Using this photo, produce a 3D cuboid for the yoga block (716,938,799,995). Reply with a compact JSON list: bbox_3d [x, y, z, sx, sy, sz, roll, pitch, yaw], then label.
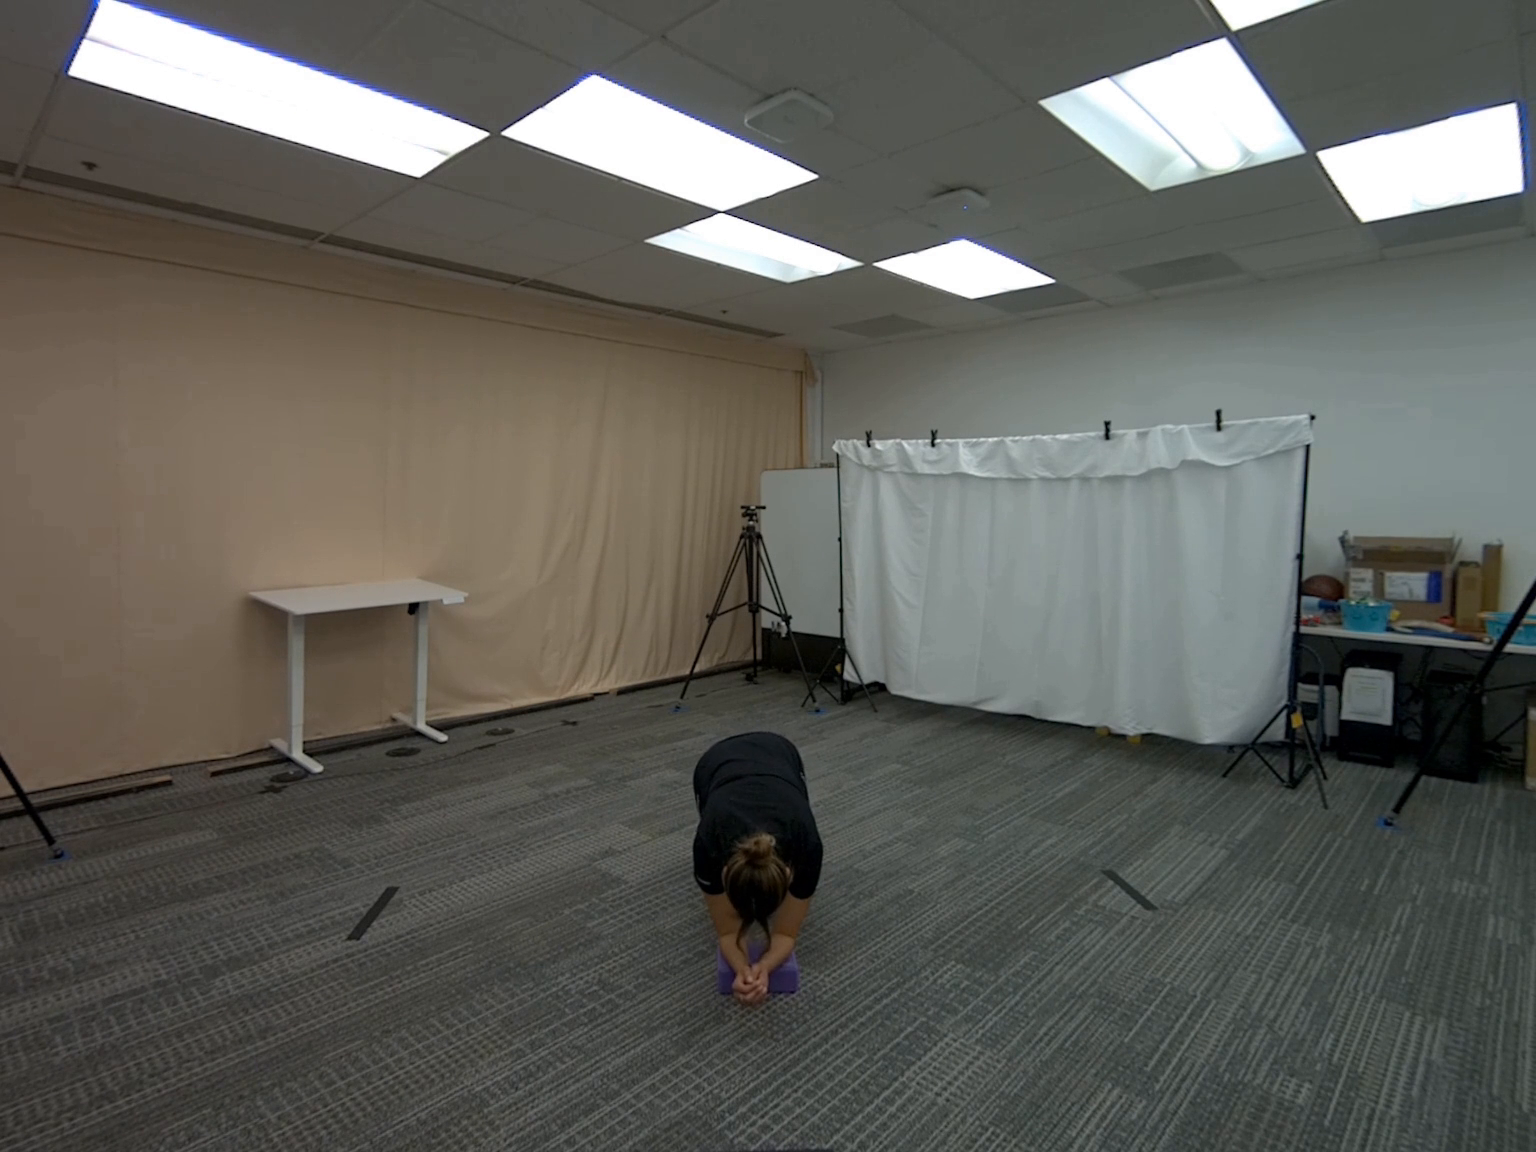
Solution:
[{"bbox_3d":[-0.032,1.141,2.469,0.229,0.076,0.150,0,7,-1],"label":"yoga block"}]
